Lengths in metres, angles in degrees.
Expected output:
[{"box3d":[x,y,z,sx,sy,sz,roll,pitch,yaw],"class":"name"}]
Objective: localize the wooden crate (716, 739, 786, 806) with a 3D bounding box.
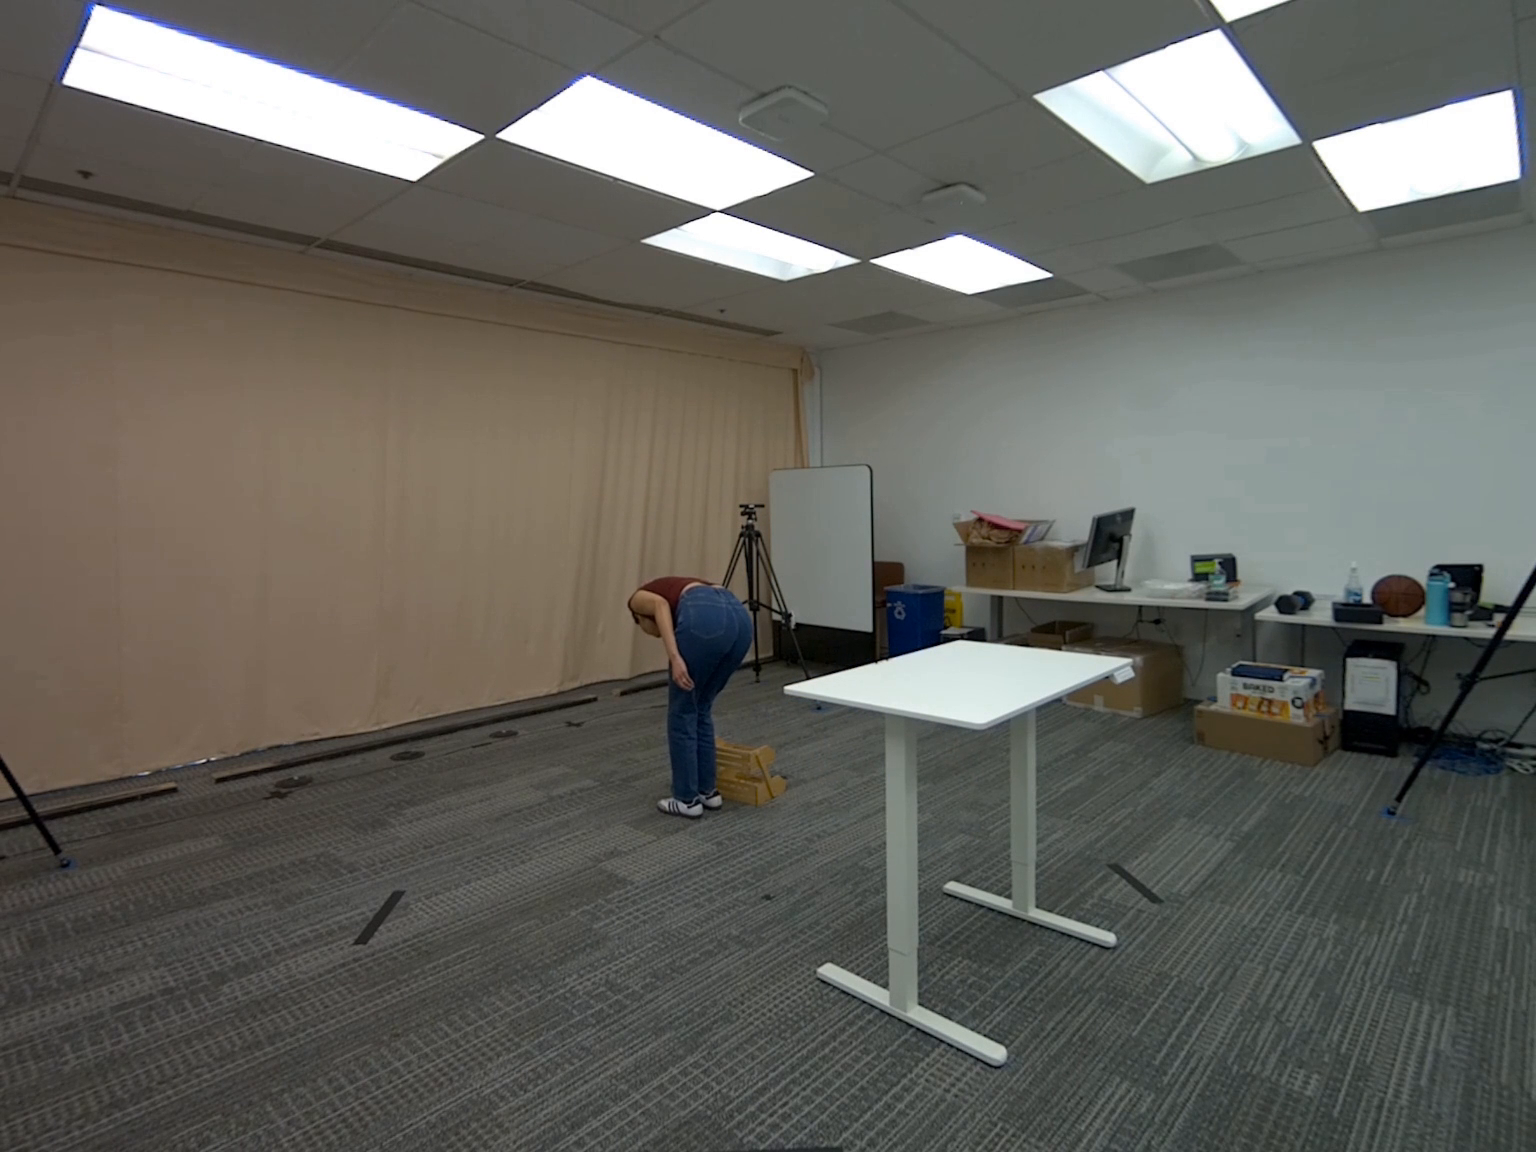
[{"box3d":[-0.121,0.920,4.064,0.335,0.273,0.293,1,5,36],"class":"wooden crate"}]
